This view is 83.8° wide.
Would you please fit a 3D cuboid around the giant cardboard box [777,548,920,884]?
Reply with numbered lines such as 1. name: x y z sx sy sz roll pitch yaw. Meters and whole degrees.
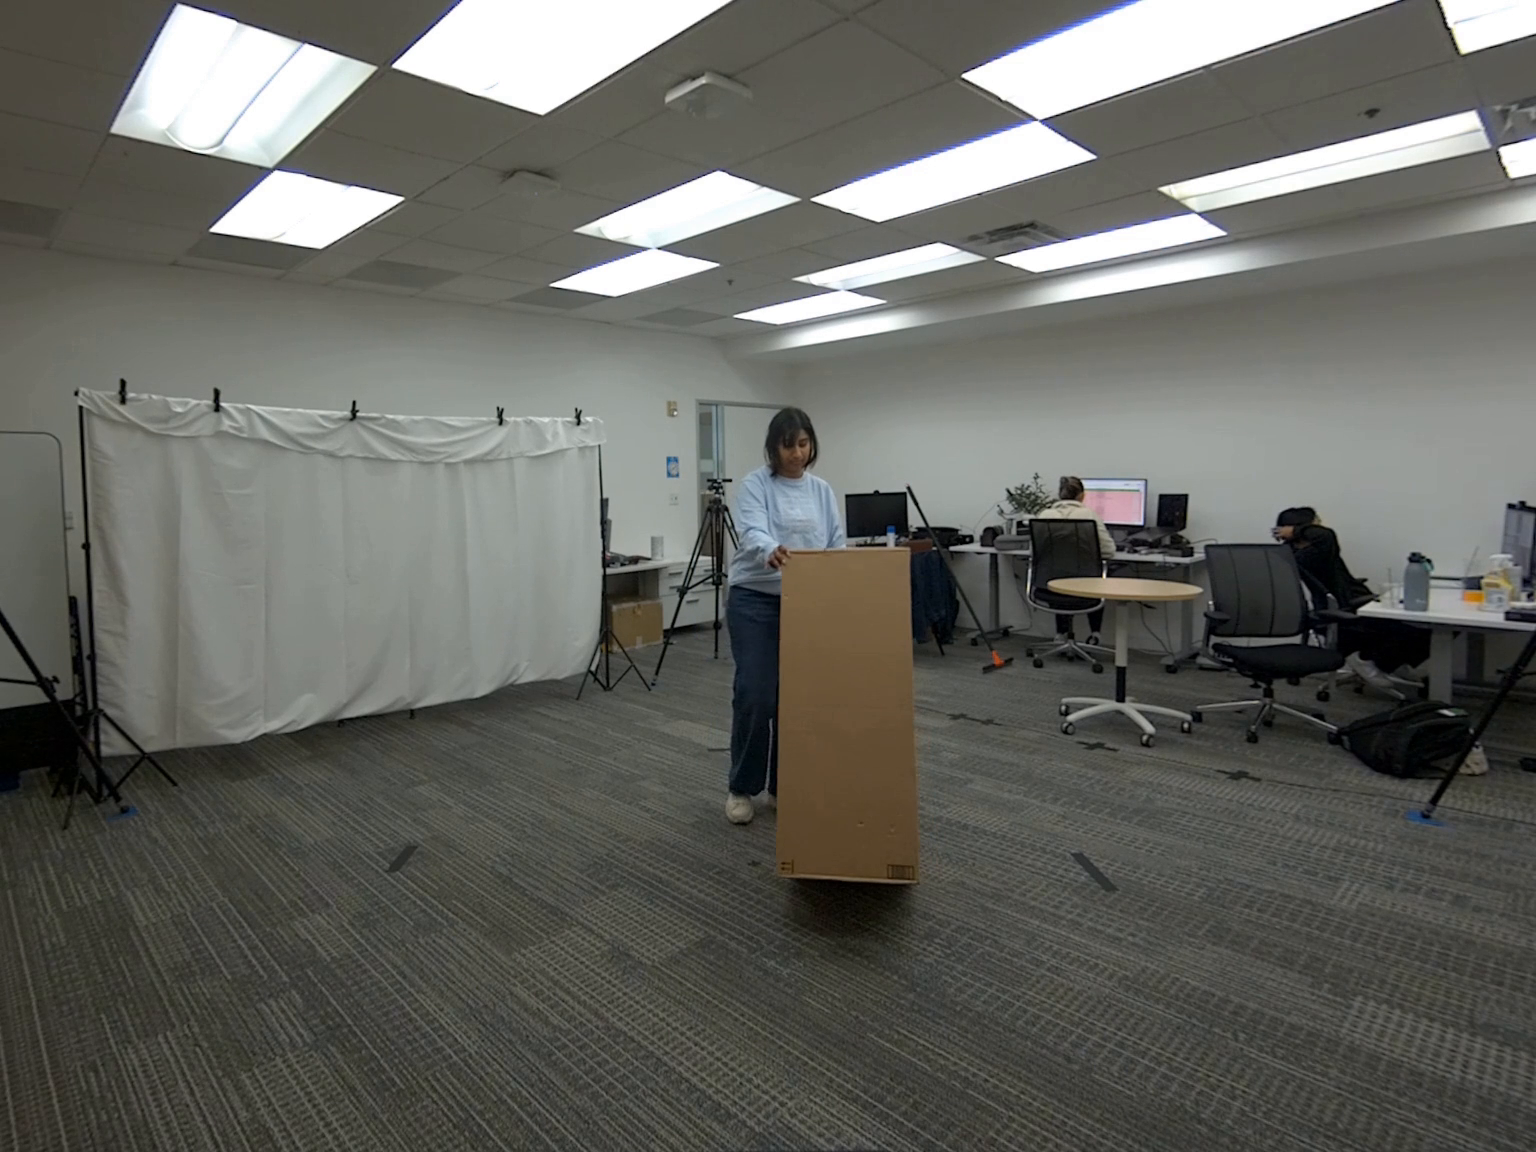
1. giant cardboard box: 0.272 0.487 2.919 0.451 1.043 0.570 0 -18 8
